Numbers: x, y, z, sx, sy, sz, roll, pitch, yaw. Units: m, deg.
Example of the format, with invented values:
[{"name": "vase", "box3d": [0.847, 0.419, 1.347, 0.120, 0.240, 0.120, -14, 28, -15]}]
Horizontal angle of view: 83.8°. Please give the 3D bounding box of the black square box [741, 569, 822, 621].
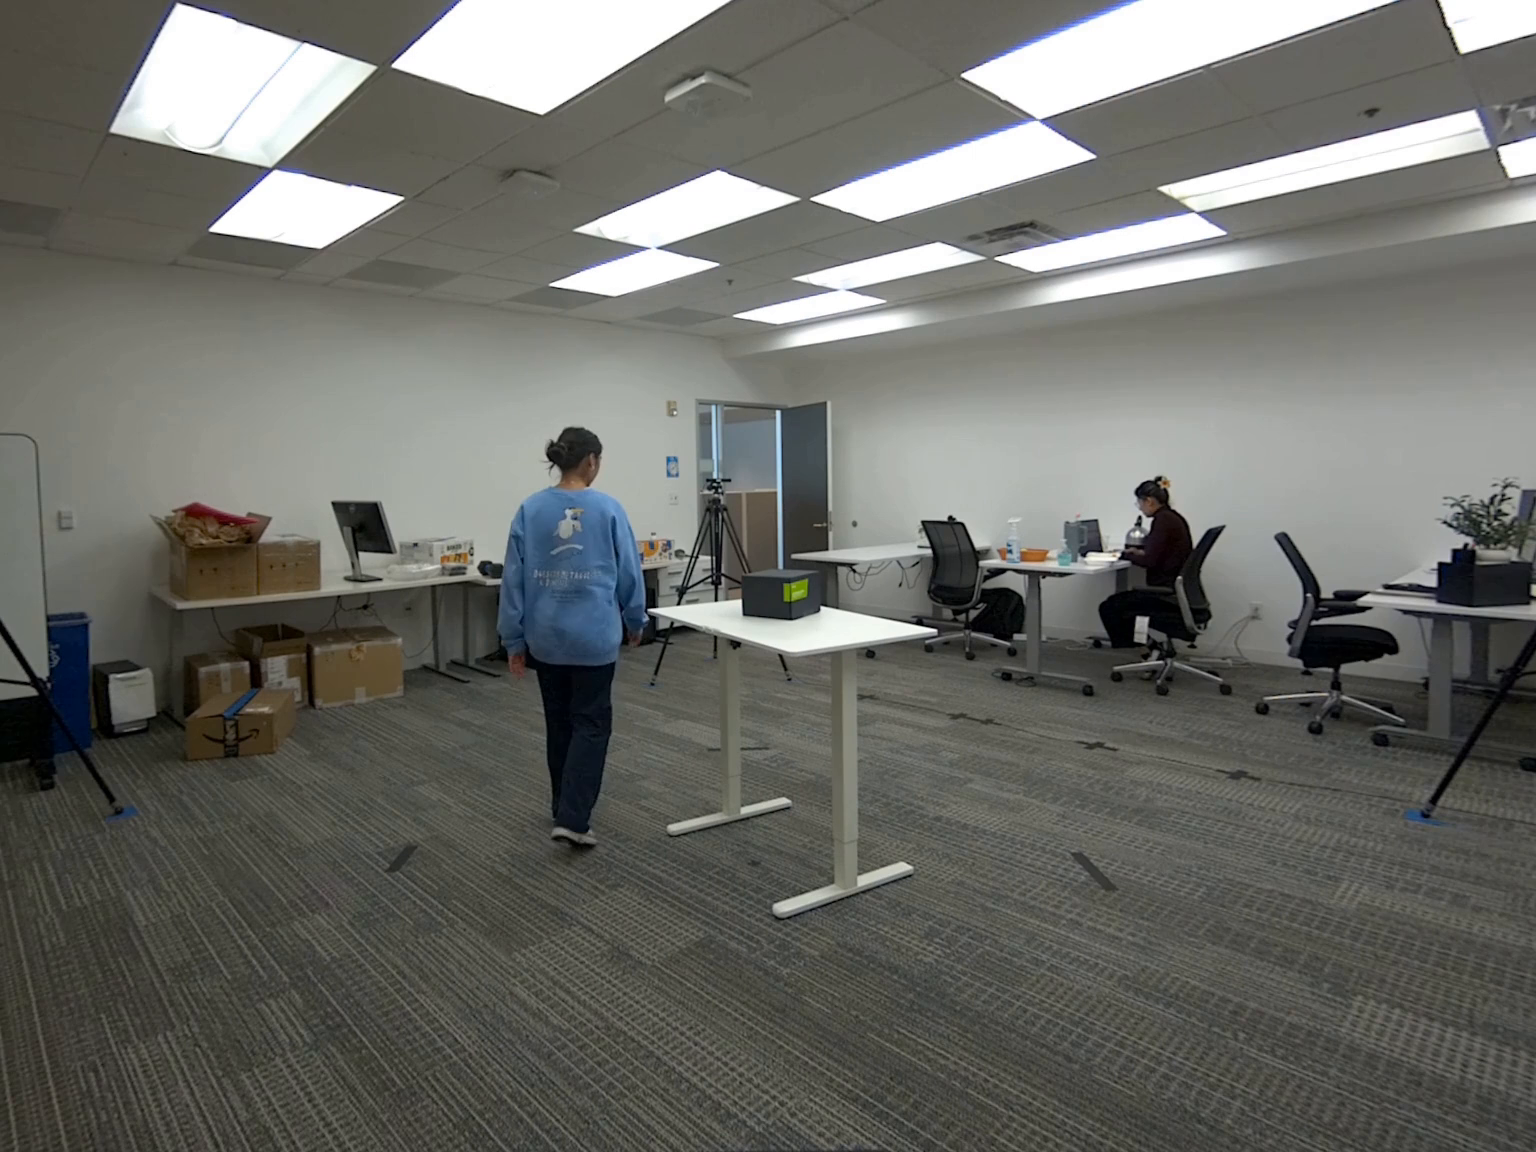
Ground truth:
[{"name": "black square box", "box3d": [0.053, 0.064, 3.230, 0.223, 0.155, 0.223, 2, 7, 33]}]
